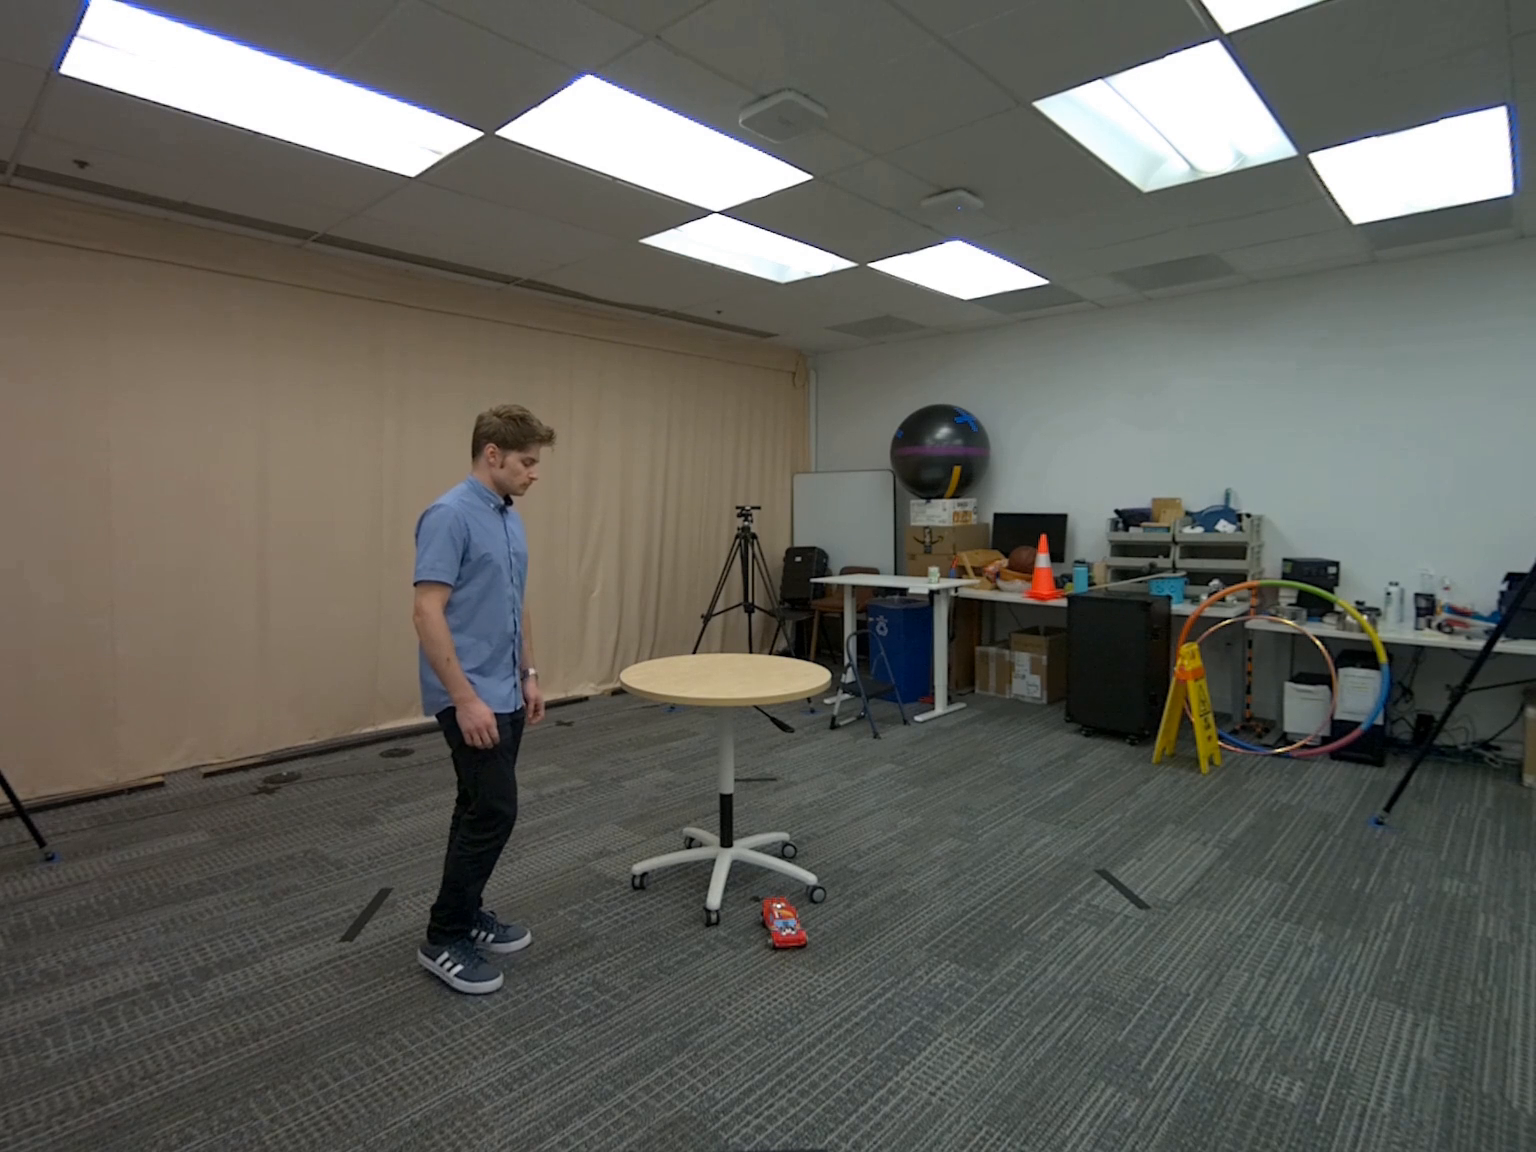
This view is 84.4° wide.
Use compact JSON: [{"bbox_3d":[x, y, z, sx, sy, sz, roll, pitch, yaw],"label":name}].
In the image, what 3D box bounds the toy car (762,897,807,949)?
[{"bbox_3d":[0.056,1.136,2.739,0.129,0.082,0.259,0,15,-10],"label":"toy car"}]
